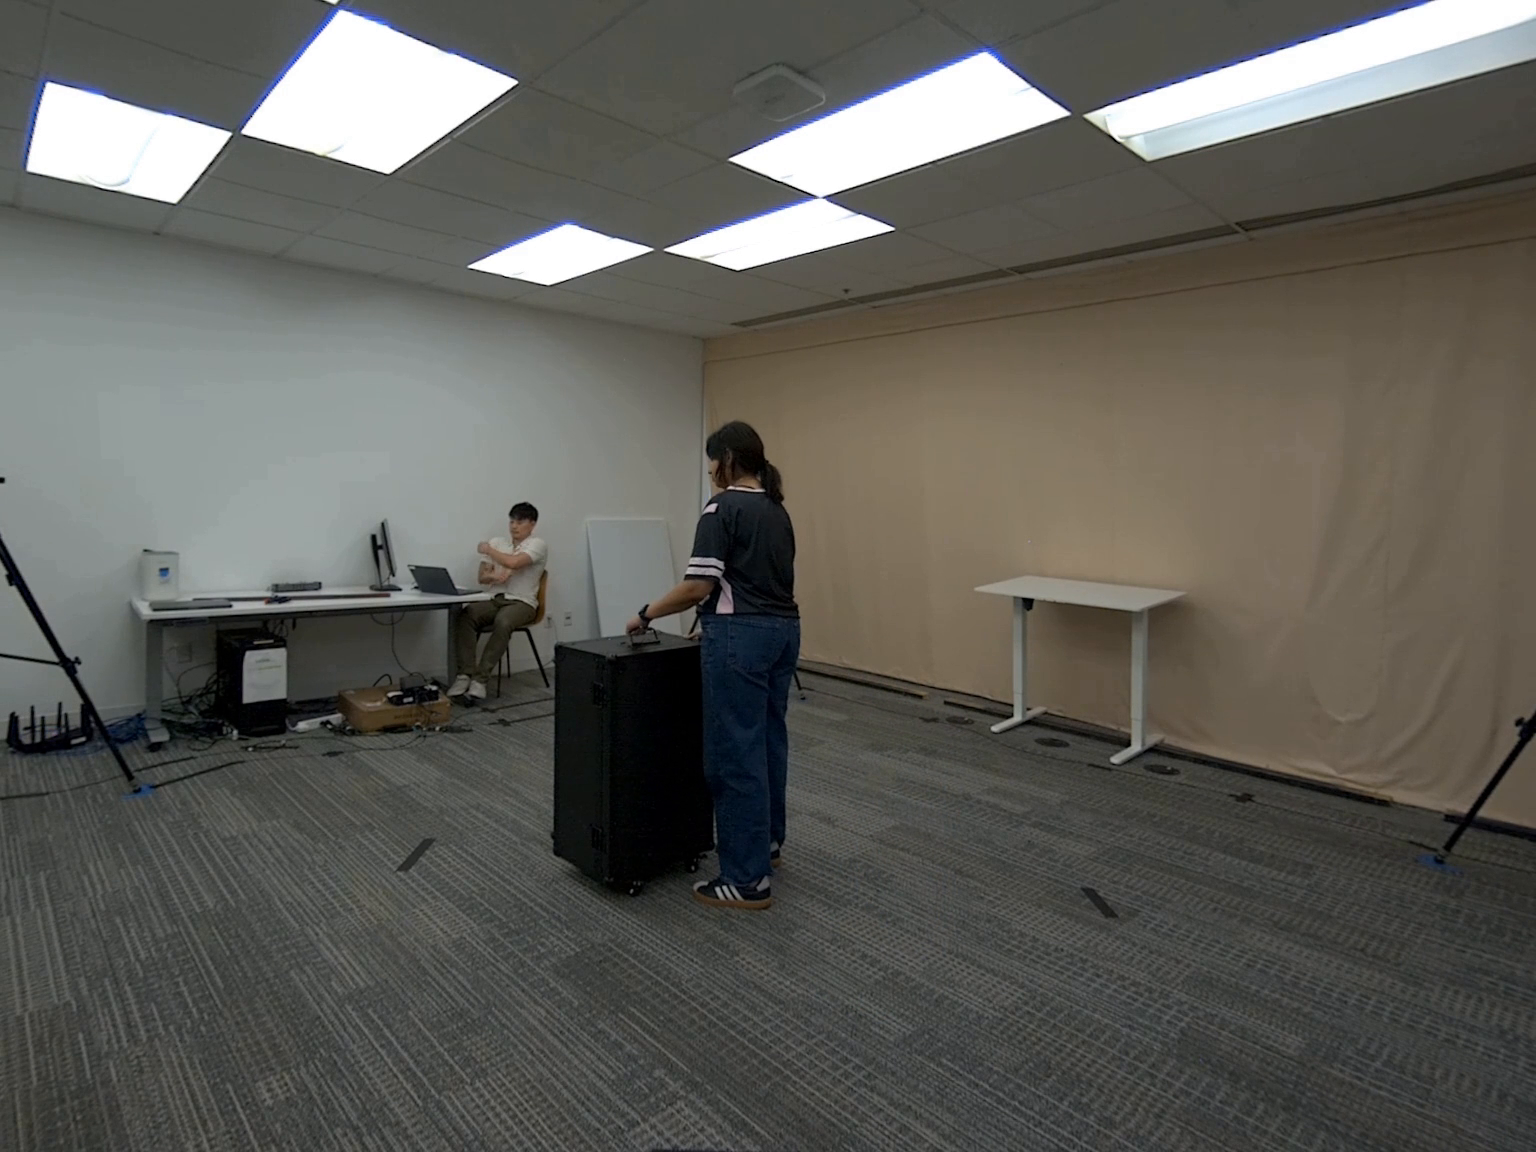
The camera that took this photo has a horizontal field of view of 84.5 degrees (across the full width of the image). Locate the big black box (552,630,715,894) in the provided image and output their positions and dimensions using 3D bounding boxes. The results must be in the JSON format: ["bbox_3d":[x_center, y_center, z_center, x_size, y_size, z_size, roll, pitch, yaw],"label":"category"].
[{"bbox_3d":[-0.505,0.674,3.108,0.395,0.867,0.511,4,4,44],"label":"big black box"}]
